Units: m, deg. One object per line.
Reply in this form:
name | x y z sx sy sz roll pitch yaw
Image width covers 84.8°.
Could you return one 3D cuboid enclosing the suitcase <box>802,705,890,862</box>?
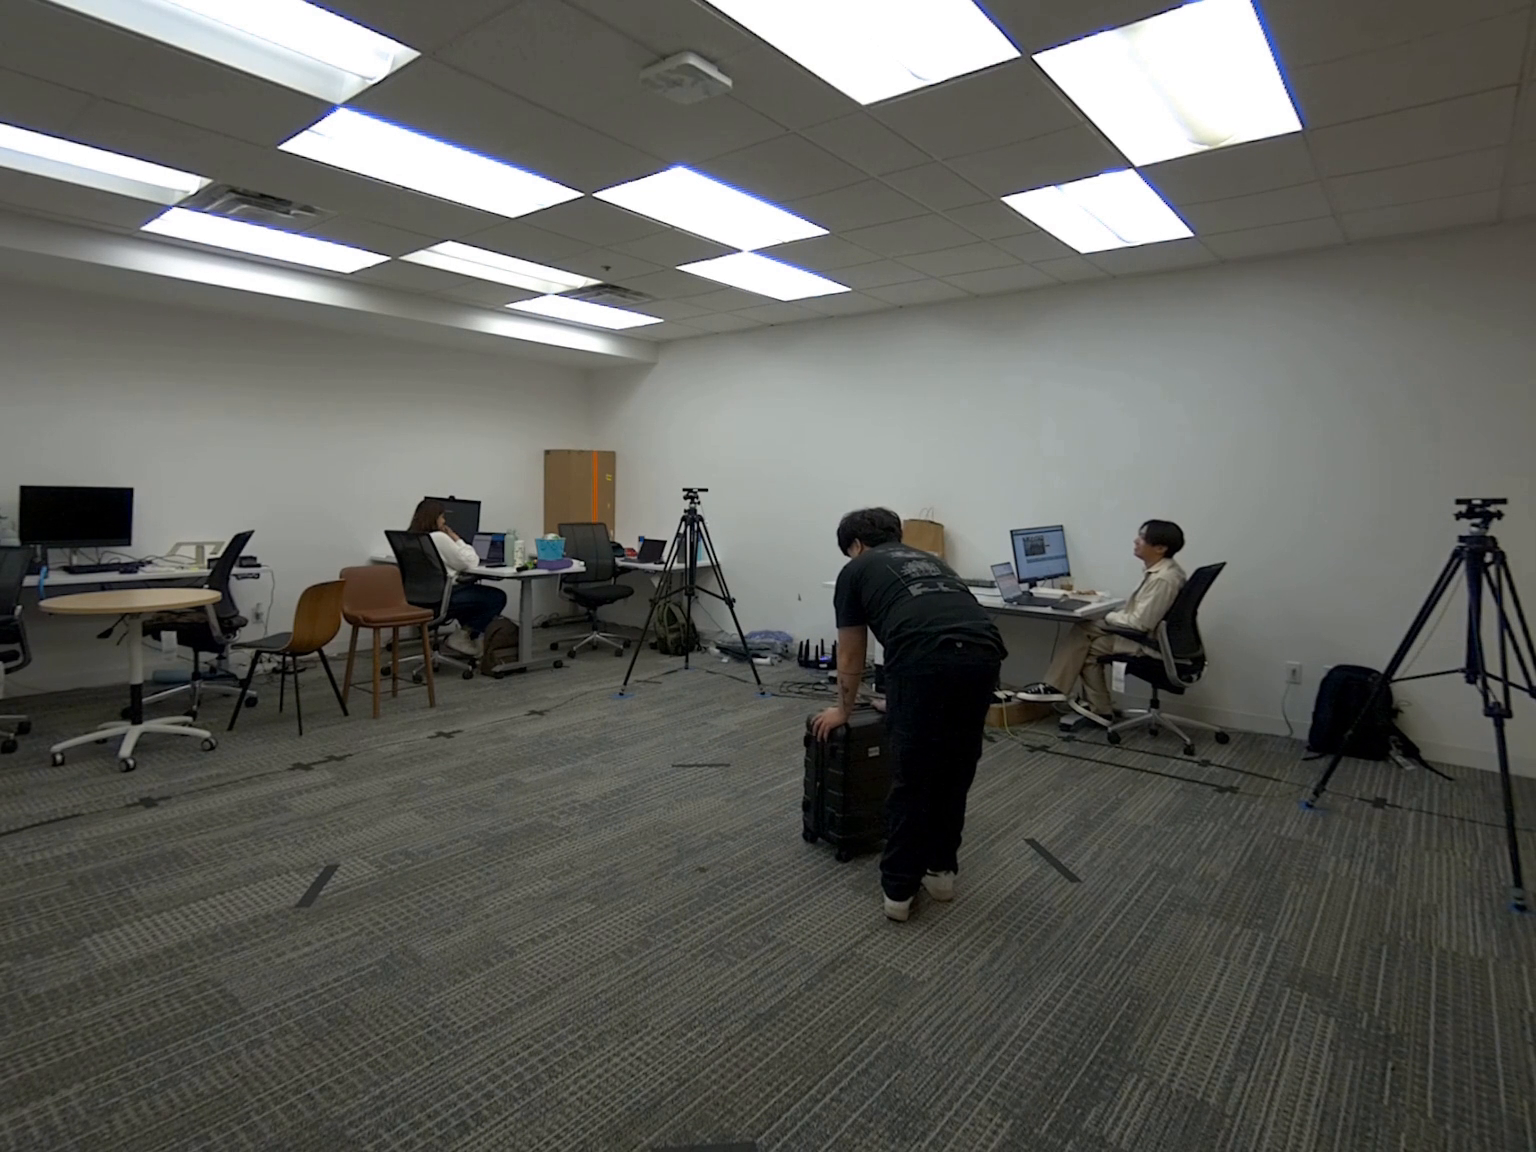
suitcase | 0.335 0.783 3.348 0.365 0.547 0.256 -2 4 -33
